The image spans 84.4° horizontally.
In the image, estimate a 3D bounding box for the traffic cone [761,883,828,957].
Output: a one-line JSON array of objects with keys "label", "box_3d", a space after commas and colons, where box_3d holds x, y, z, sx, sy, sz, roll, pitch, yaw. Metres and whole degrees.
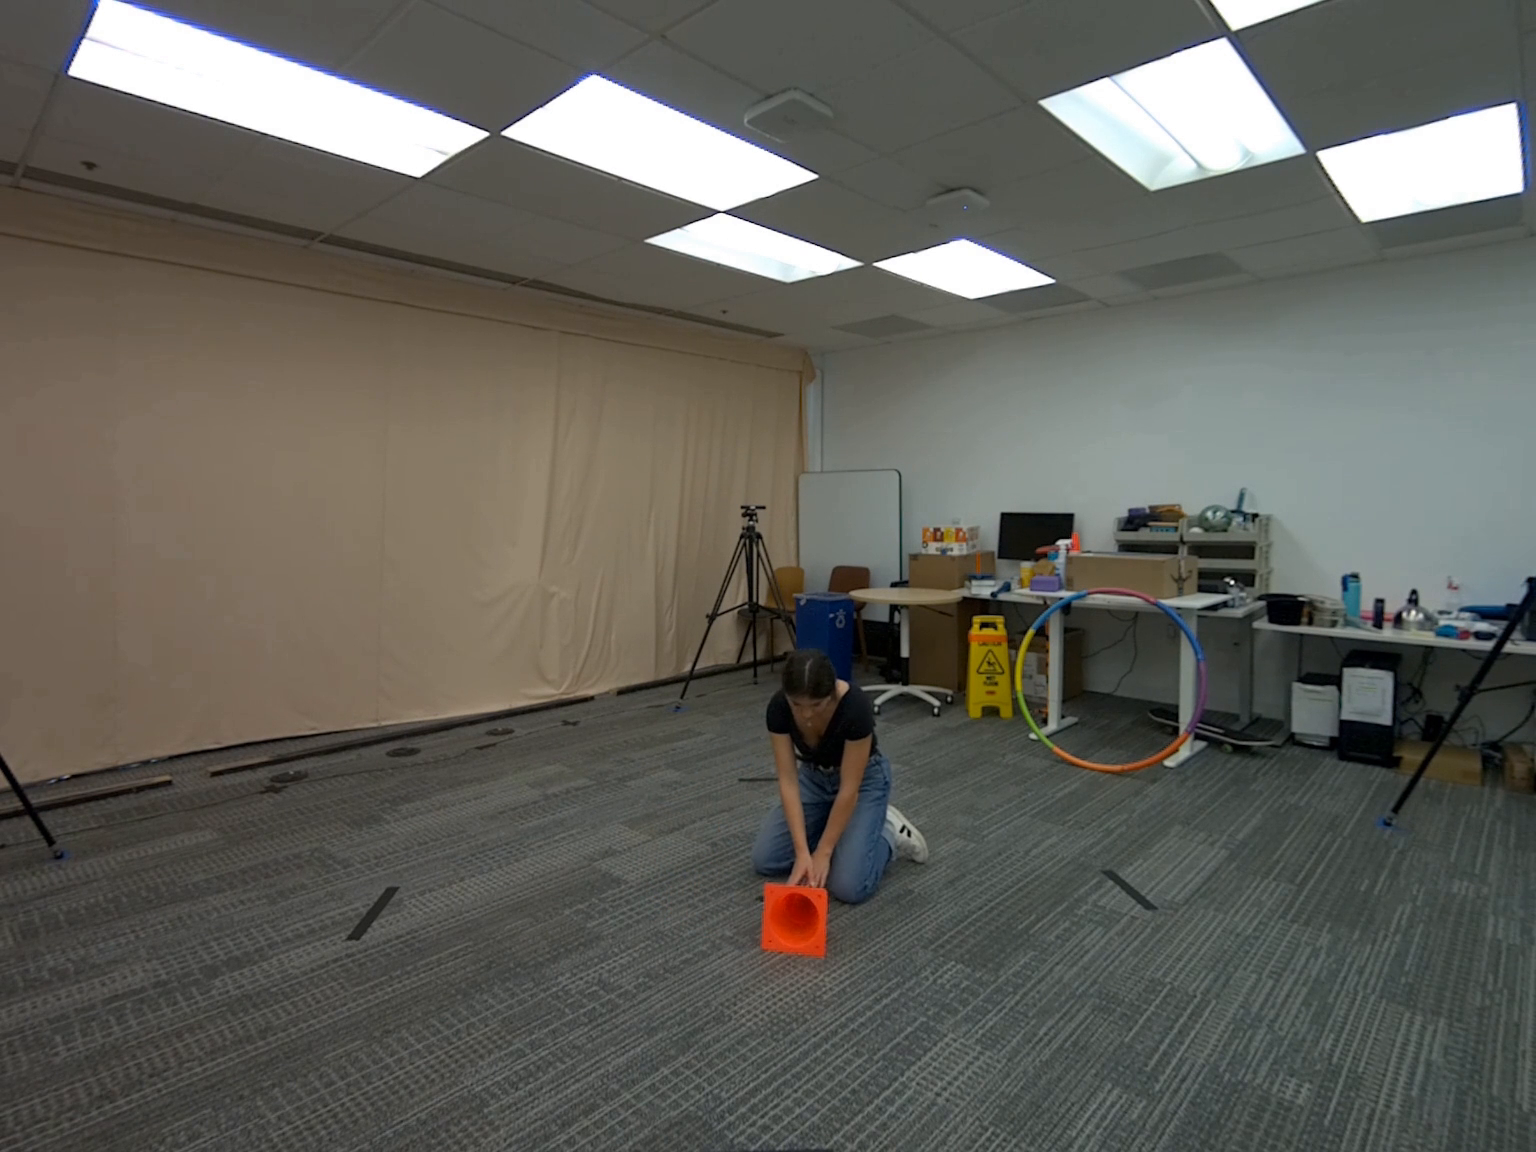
[{"label": "traffic cone", "box_3d": [0.119, 1.095, 2.816, 0.208, 0.204, 0.377, 2, -5, 11]}]
